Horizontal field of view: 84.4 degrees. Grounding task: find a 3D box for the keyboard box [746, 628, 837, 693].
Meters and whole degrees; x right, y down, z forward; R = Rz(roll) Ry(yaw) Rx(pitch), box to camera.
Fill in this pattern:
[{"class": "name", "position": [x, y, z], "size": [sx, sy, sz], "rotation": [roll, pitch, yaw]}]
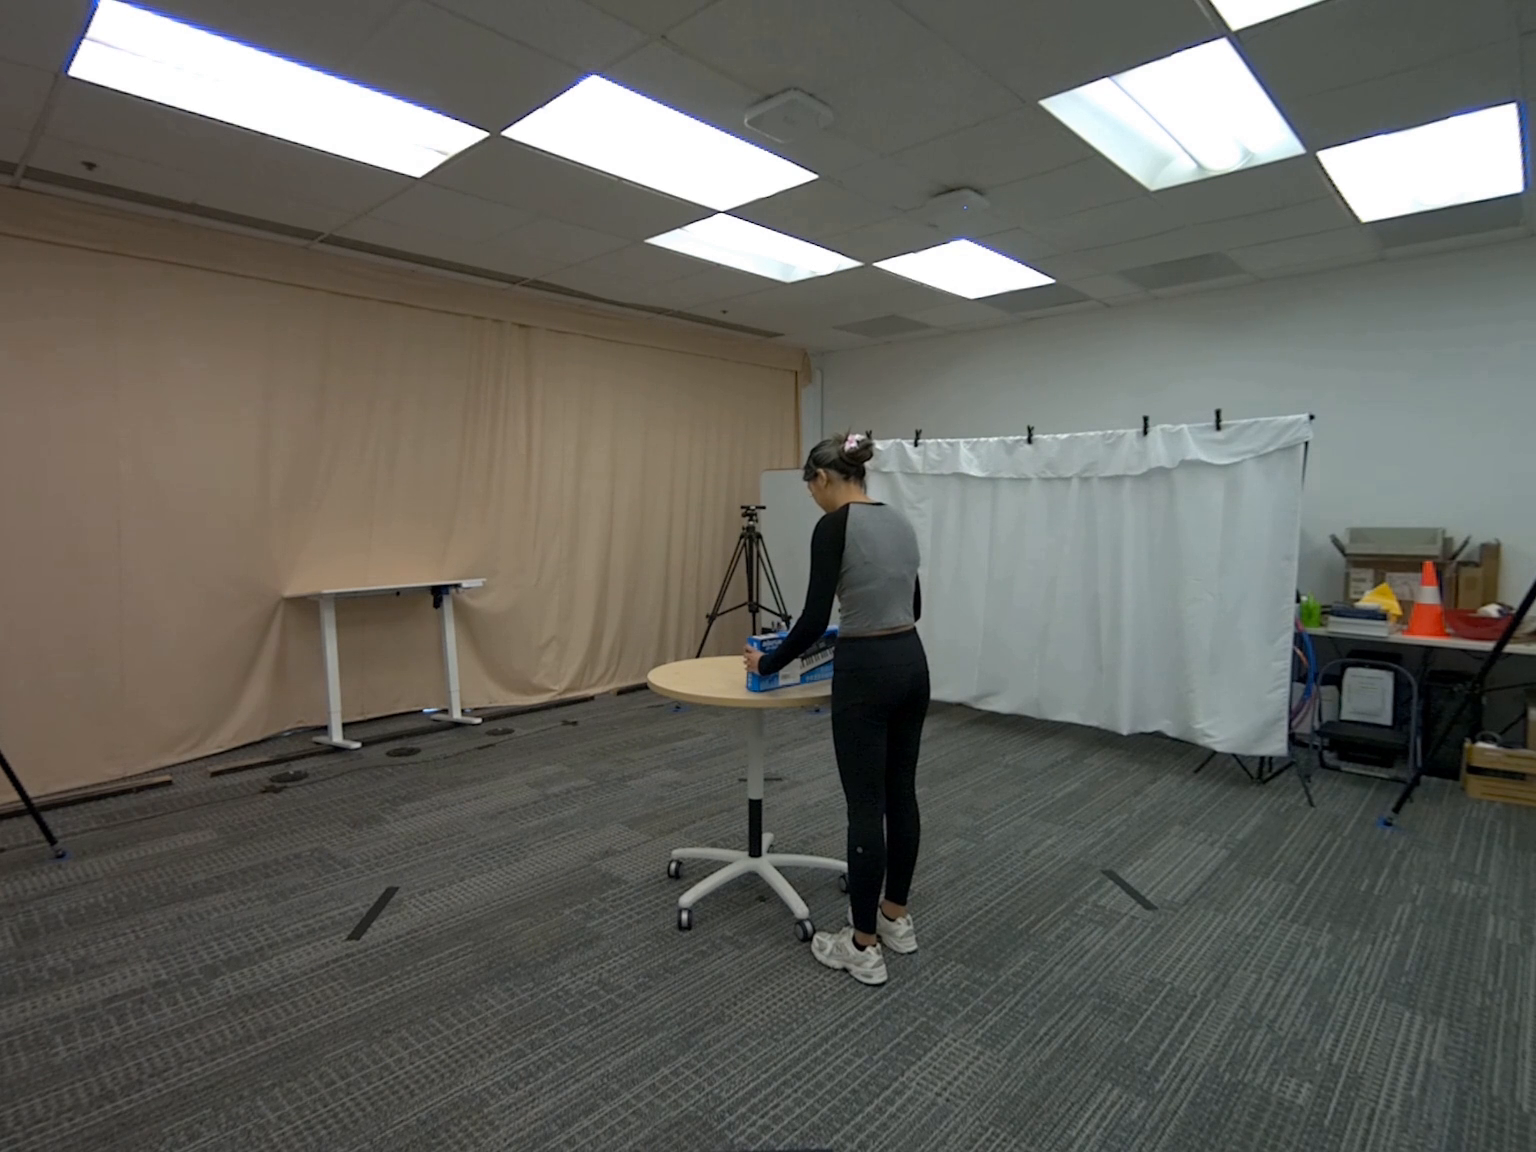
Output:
[{"class": "keyboard box", "position": [0.109, 0.276, 2.845], "size": [0.423, 0.175, 0.061], "rotation": [-4, 6, -42]}]
